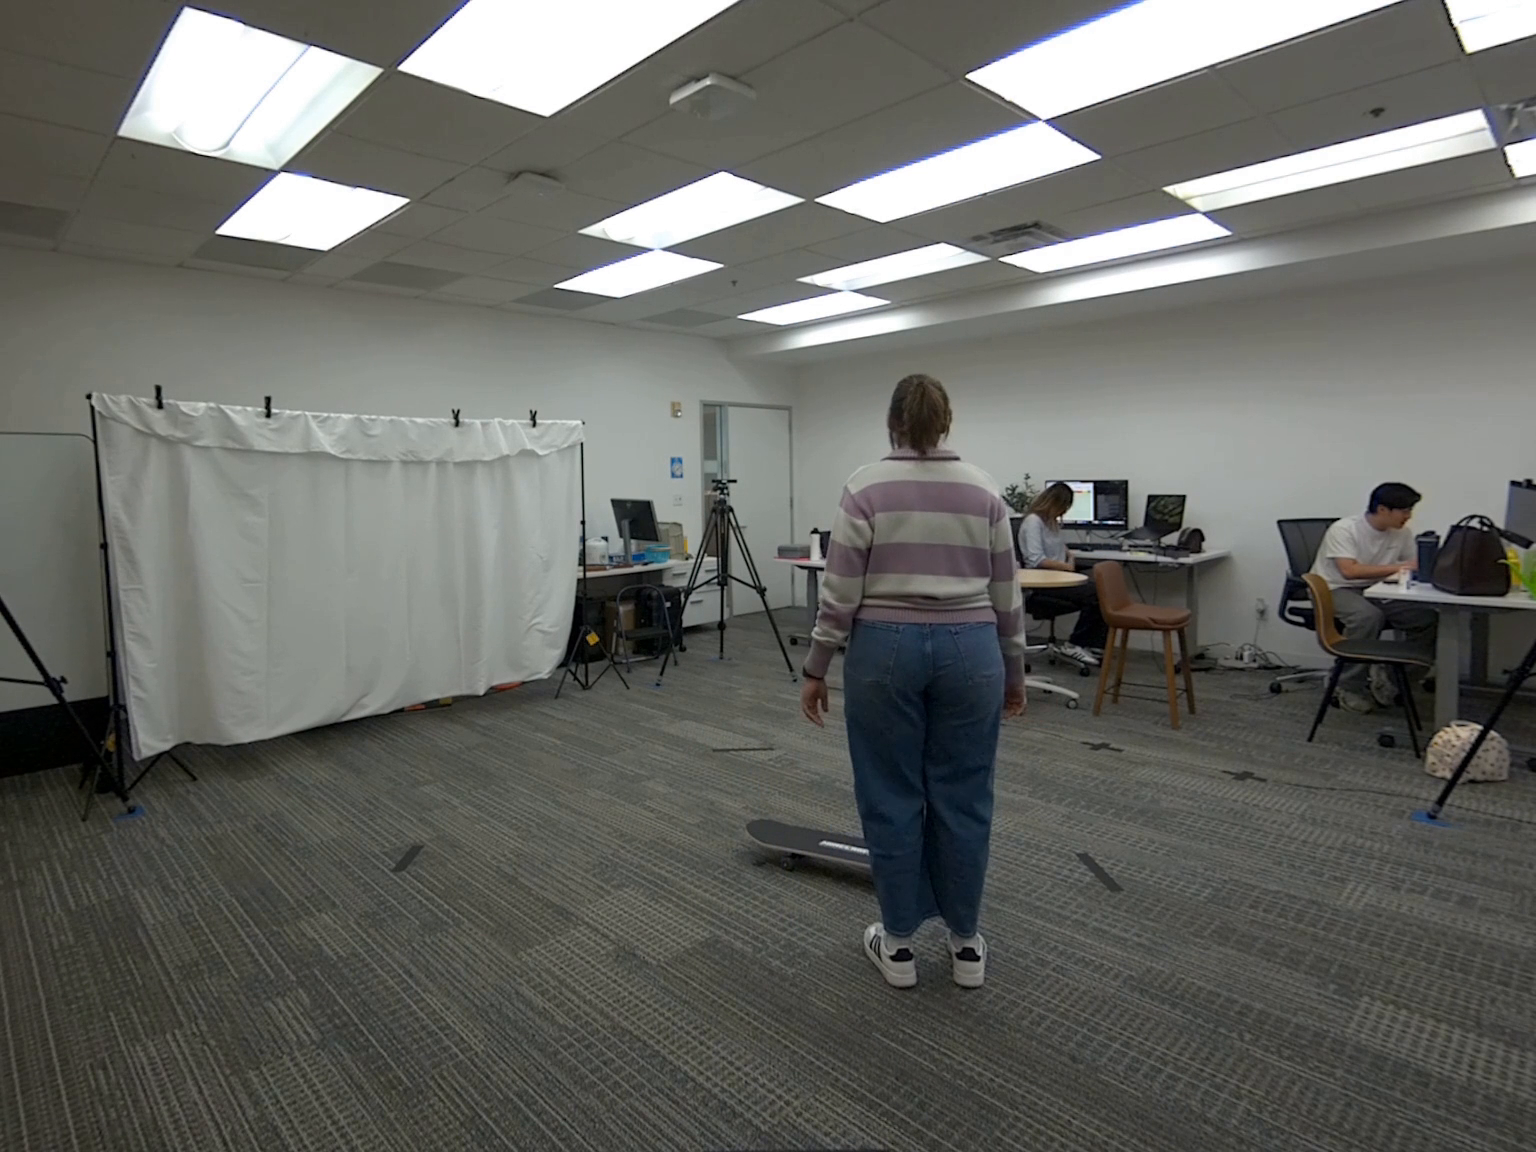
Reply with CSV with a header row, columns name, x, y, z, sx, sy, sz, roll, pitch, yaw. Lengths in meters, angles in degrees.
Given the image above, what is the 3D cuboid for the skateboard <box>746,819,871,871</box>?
name,x,y,z,sx,sy,sz,roll,pitch,yaw
skateboard,0.285,0.994,3.015,0.805,0.110,0.189,2,7,28
